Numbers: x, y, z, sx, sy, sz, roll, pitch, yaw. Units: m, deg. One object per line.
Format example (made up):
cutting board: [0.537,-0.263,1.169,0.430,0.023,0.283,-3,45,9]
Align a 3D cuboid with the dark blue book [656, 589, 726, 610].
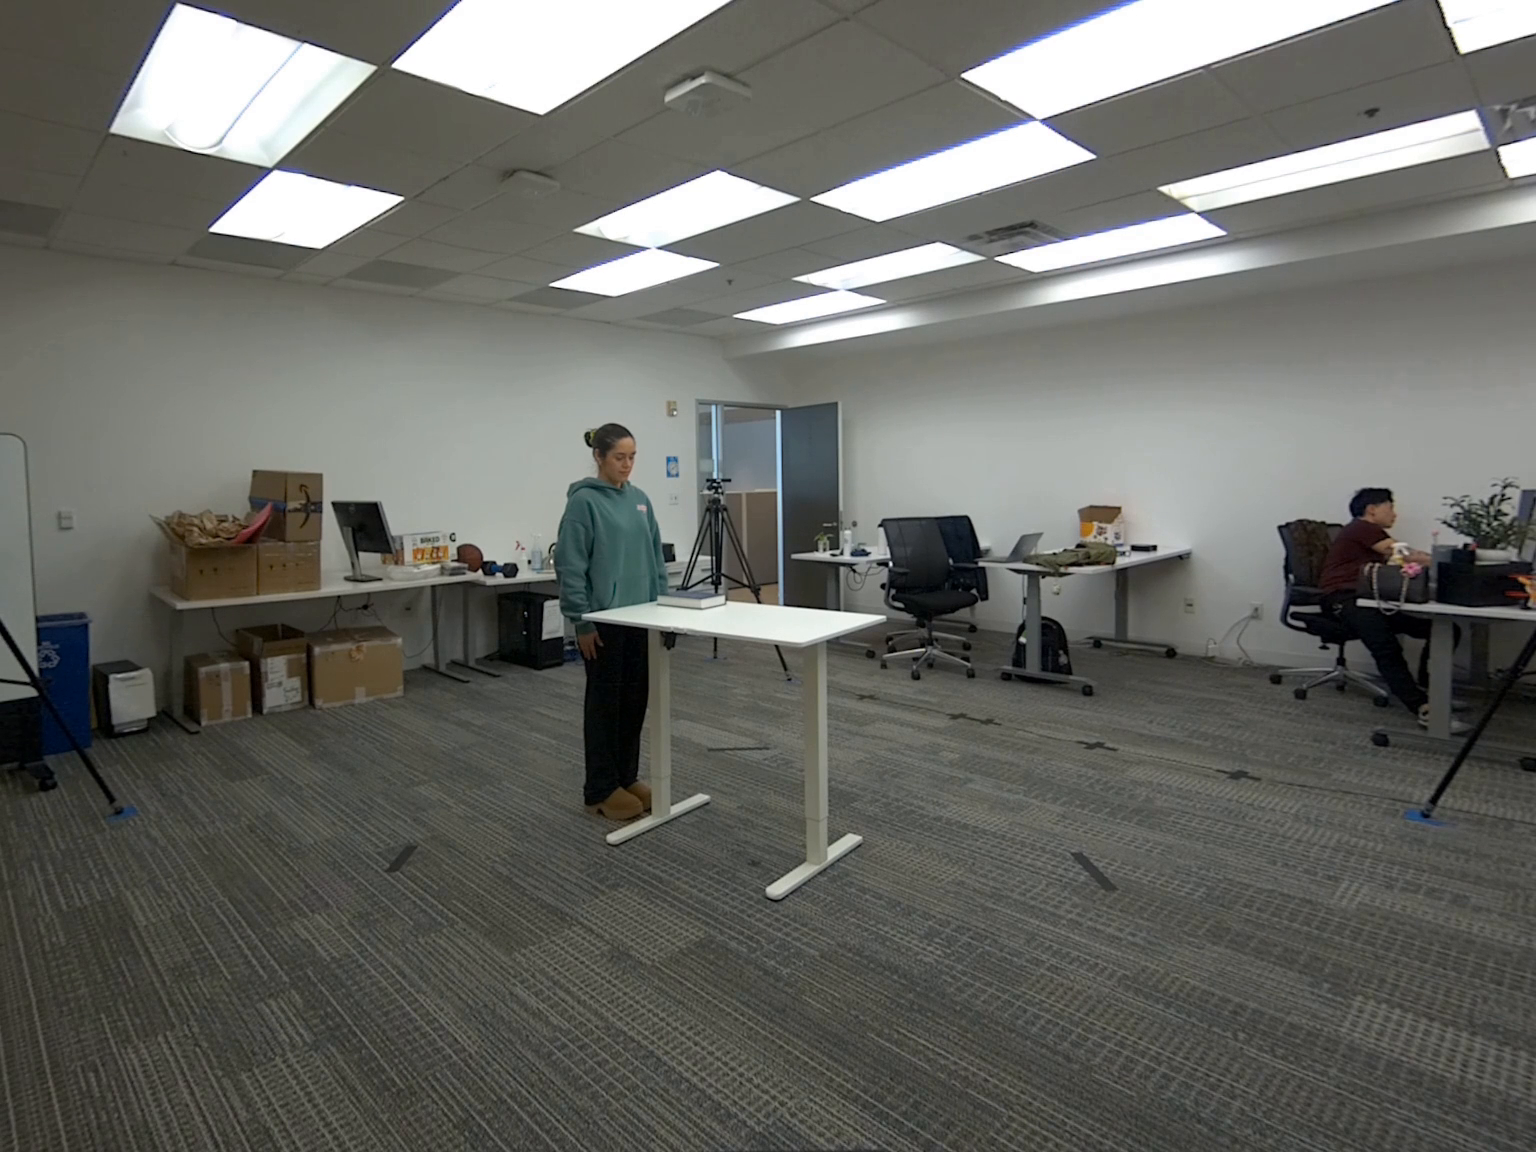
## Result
dark blue book: [-0.305,0.096,3.517,0.252,0.045,0.159,4,7,35]
